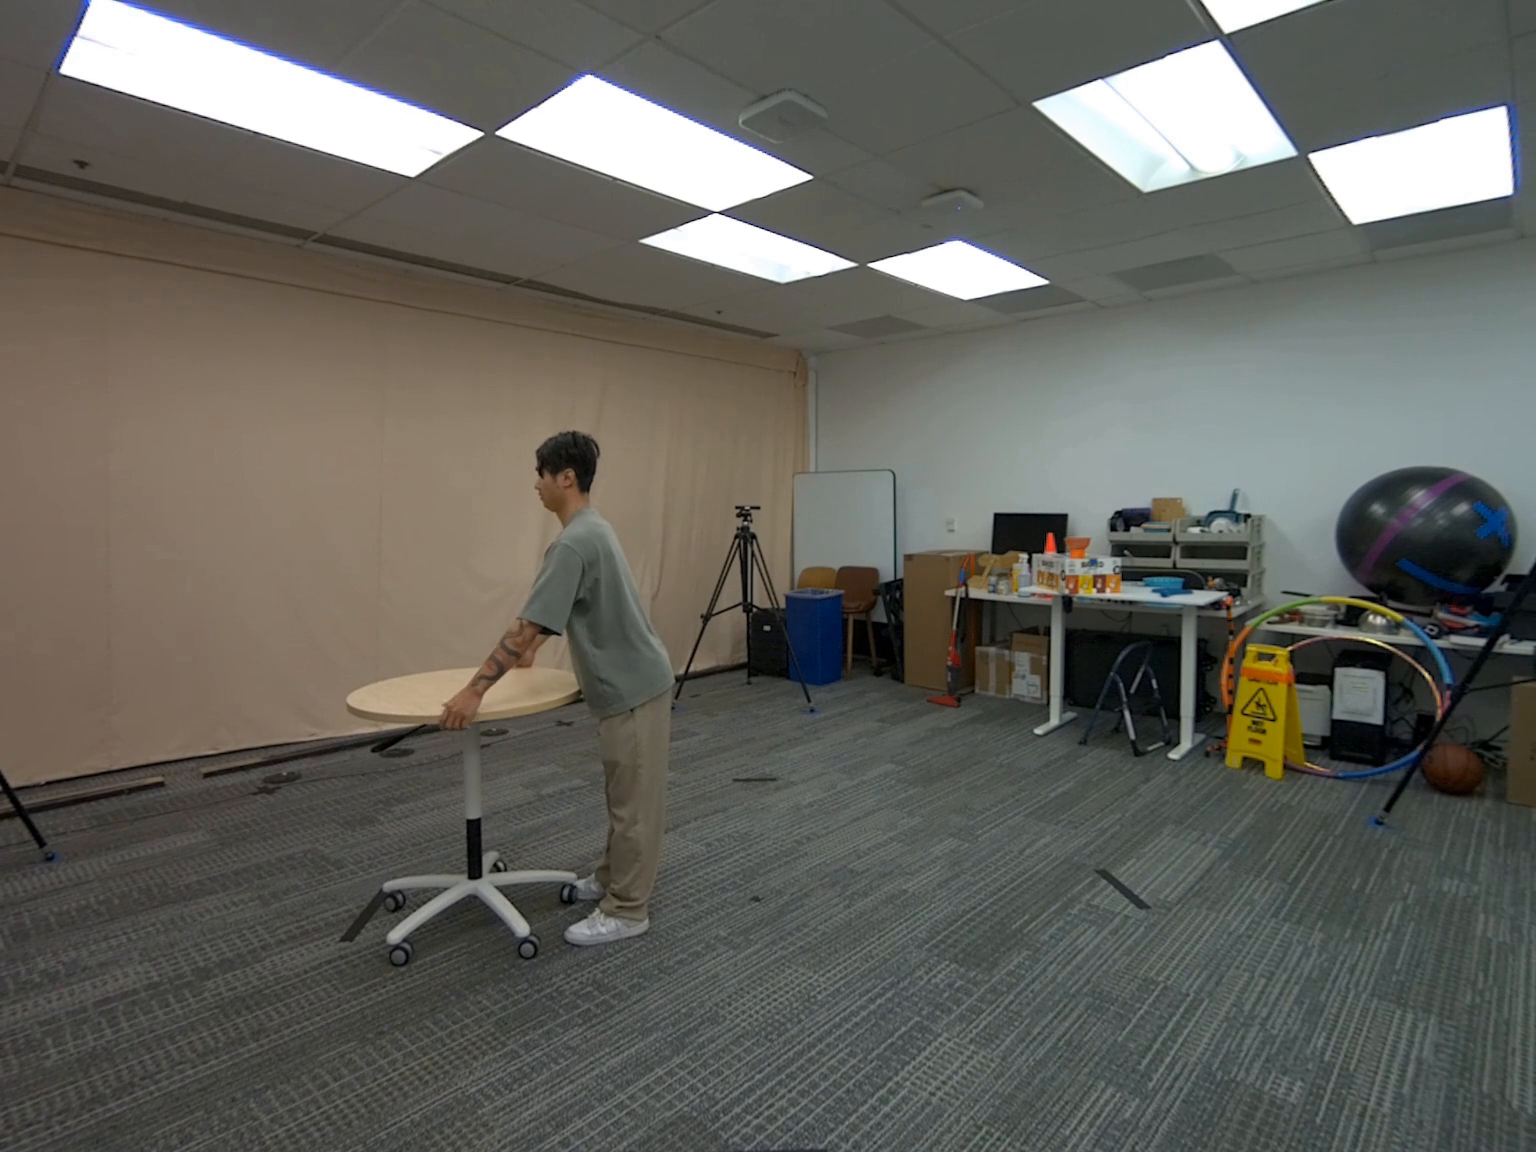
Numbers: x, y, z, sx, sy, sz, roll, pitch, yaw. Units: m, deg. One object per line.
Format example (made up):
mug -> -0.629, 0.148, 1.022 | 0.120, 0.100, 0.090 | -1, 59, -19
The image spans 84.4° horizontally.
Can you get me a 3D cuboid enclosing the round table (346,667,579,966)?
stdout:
round table -> -0.993, 0.770, 2.859 | 0.784, 0.785, 0.788 | -1, 4, -2
